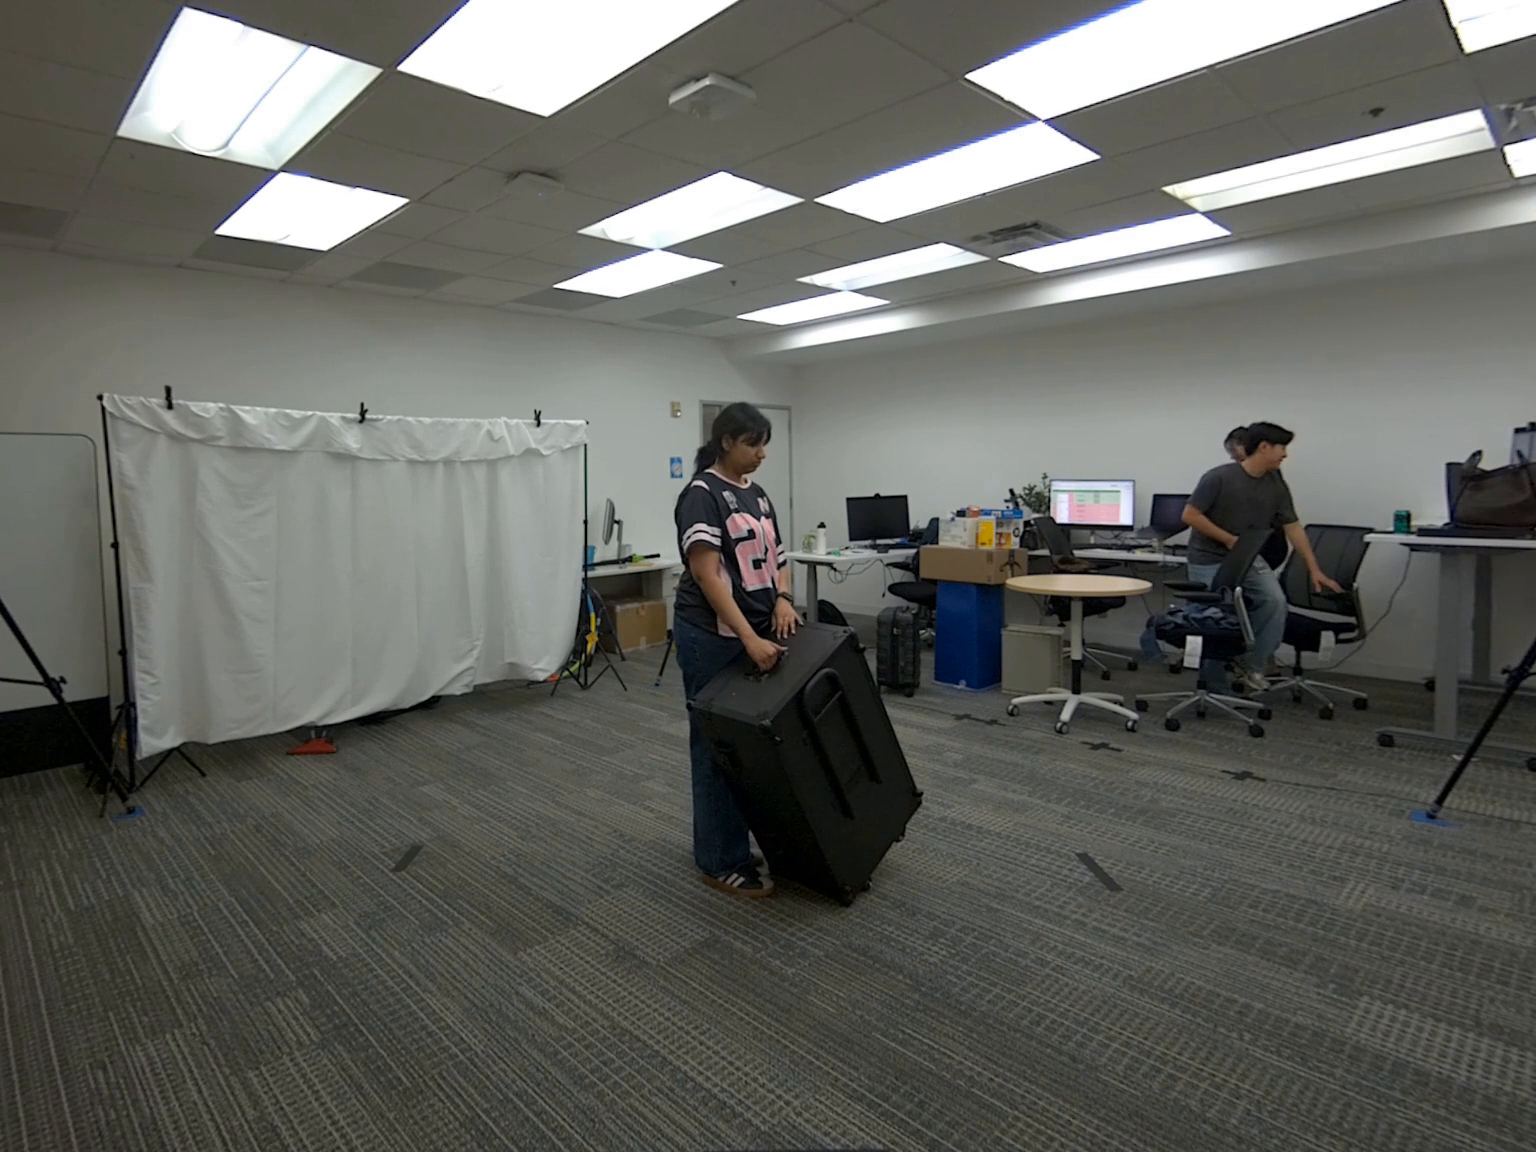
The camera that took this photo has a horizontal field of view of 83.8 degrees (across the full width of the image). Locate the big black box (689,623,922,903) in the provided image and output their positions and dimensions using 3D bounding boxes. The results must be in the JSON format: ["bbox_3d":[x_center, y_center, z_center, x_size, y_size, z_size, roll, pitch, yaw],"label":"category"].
[{"bbox_3d":[0.168,0.637,2.905,0.397,0.845,0.521,3,35,44],"label":"big black box"}]
